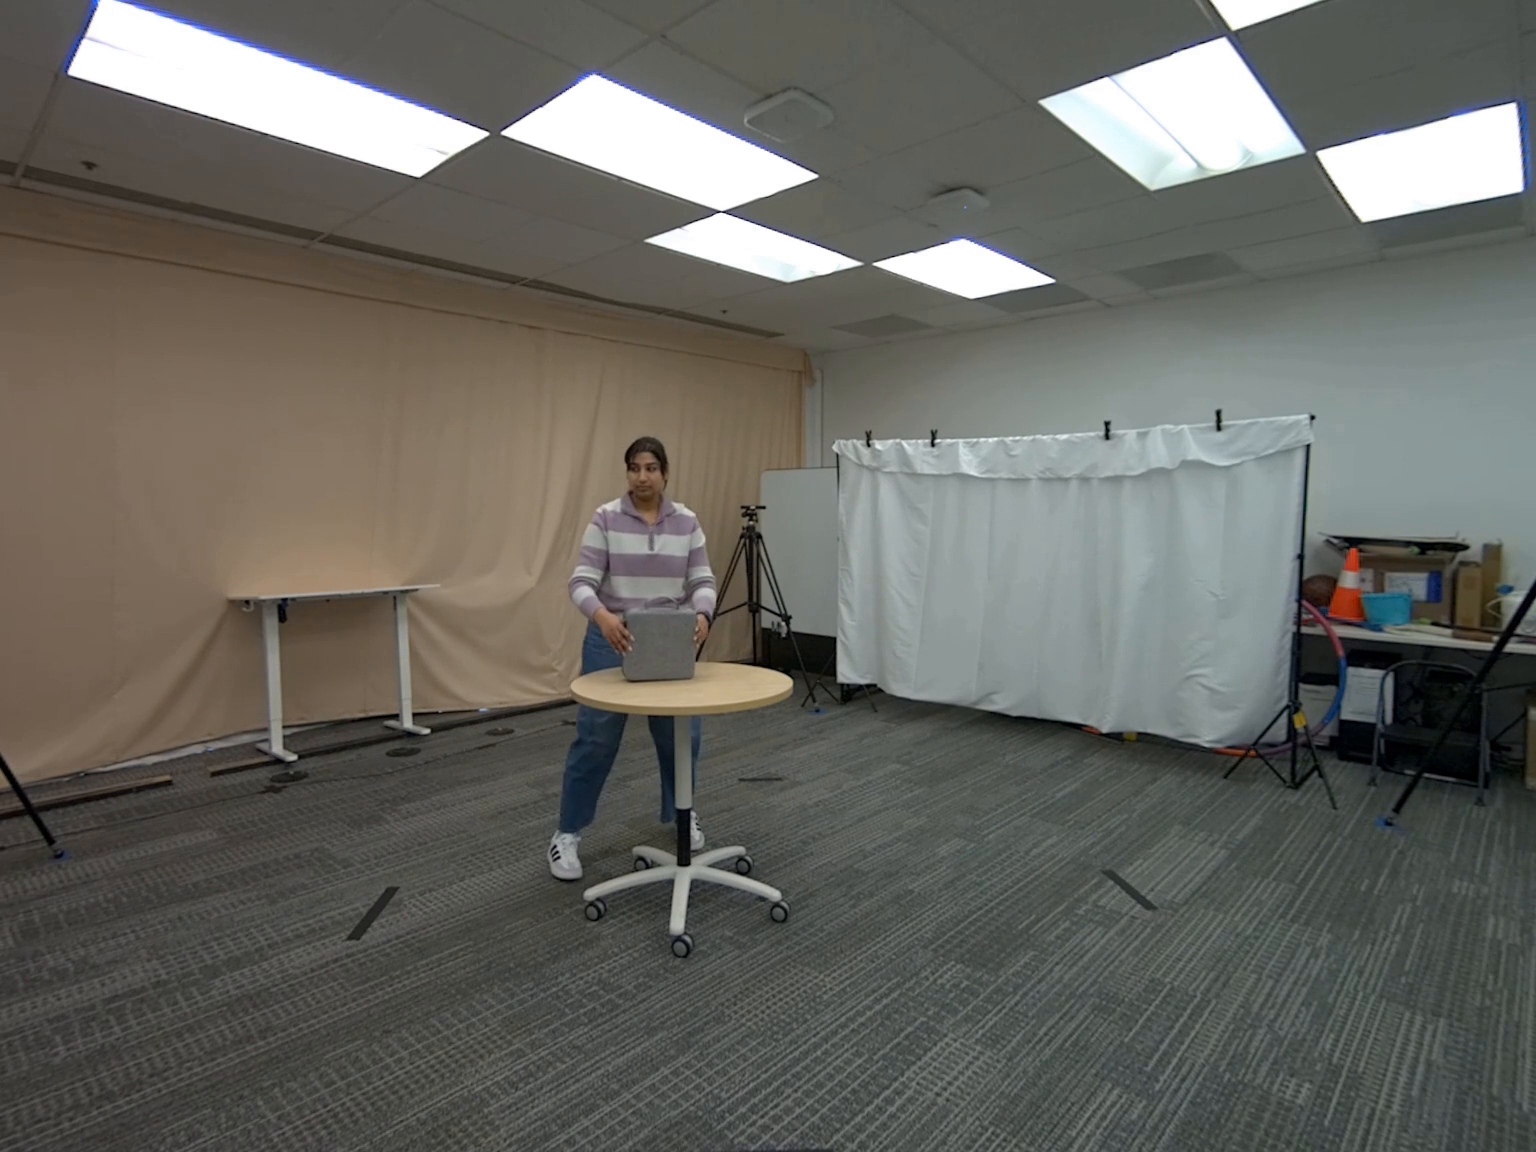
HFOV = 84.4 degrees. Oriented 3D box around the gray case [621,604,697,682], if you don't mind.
[{"bbox_3d":[-0.378,0.232,2.954,0.253,0.259,0.106,0,8,-15],"label":"gray case"}]
